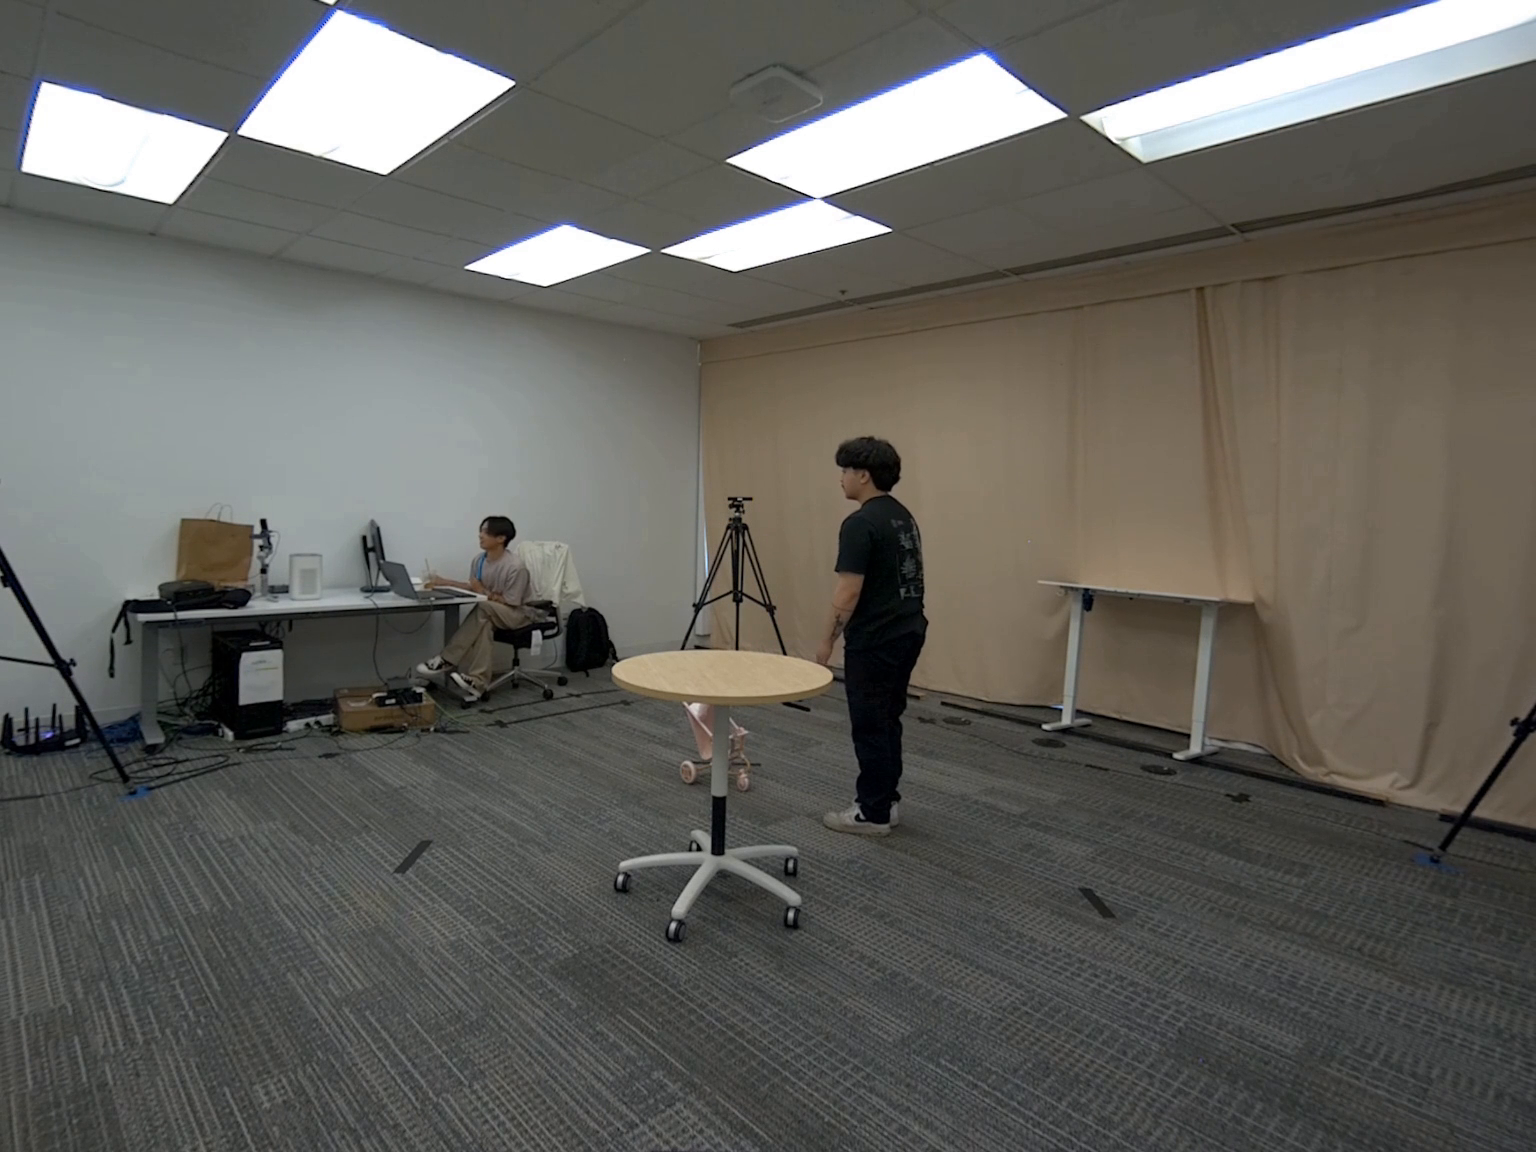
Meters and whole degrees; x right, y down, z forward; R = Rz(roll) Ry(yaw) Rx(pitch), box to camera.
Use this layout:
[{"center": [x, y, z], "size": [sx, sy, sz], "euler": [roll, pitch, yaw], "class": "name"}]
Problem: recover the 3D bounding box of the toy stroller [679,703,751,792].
[{"center": [-0.266, 0.791, 4.163], "size": [0.275, 0.539, 0.347], "euler": [0, -11, -44], "class": "toy stroller"}]
